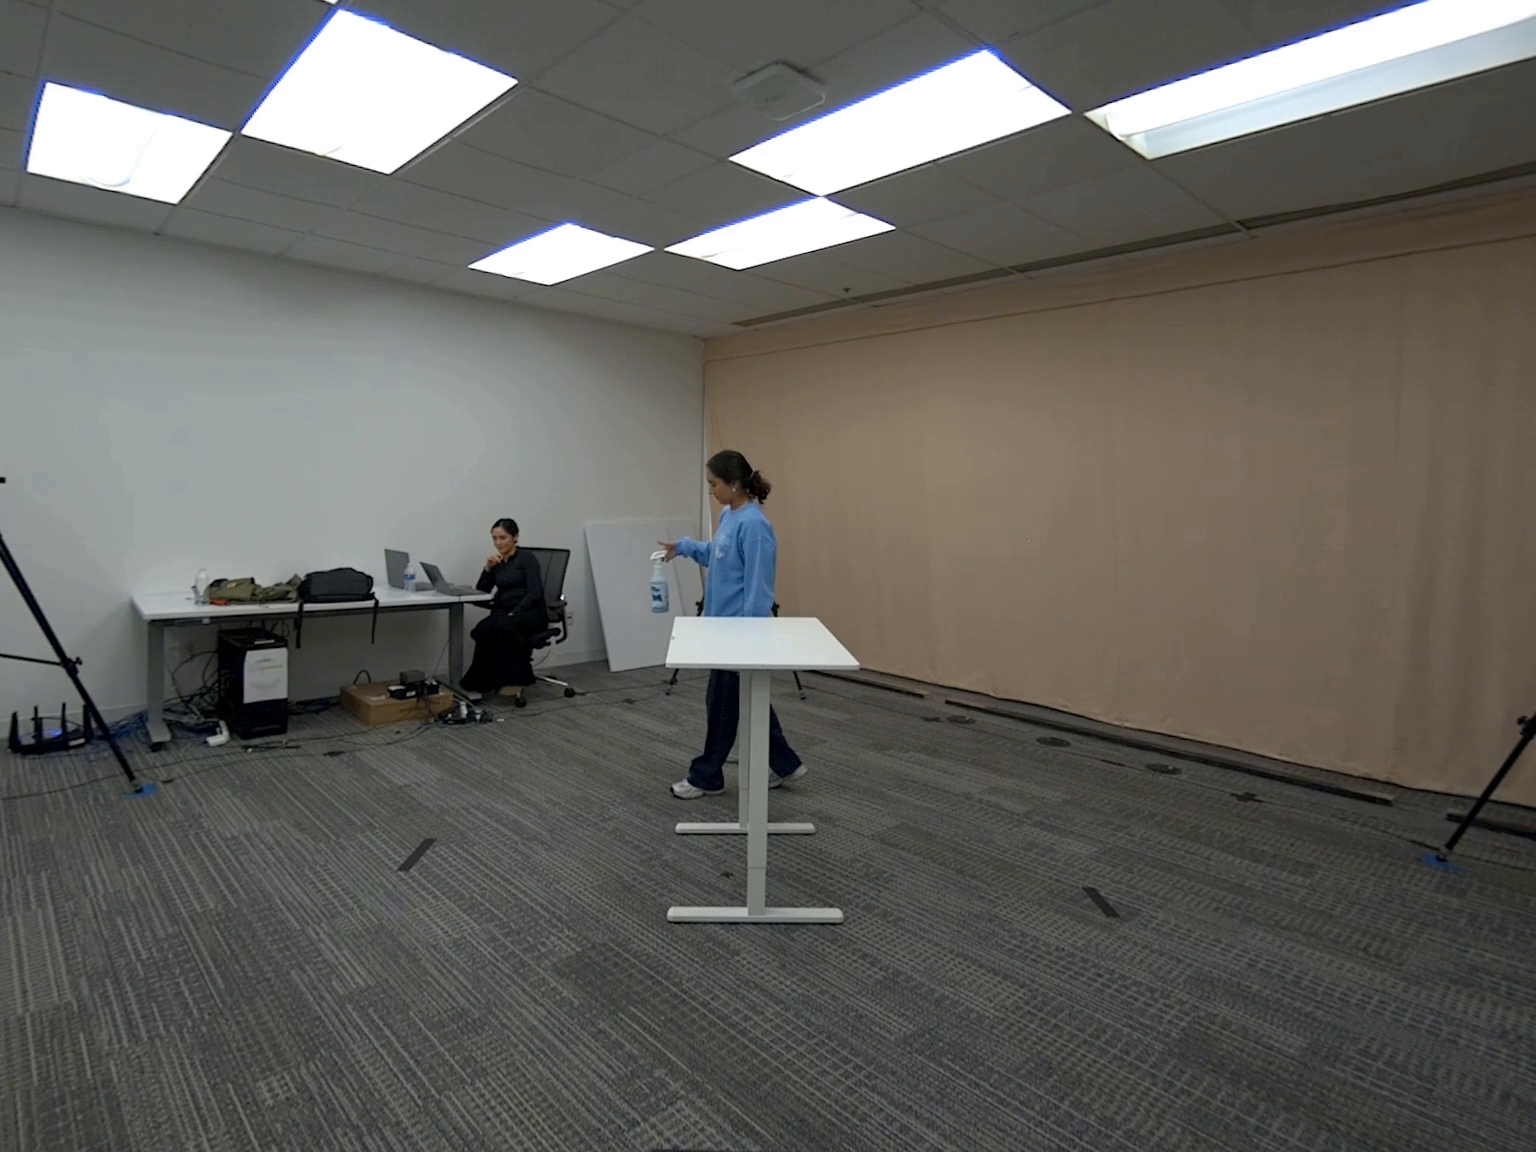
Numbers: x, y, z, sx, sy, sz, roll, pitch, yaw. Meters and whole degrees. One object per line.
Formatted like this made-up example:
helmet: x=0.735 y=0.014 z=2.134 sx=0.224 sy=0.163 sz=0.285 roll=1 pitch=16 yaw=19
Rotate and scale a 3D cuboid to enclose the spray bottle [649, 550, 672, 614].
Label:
spray bottle: x=-0.529 y=0.029 z=4.107 sx=0.089 sy=0.295 sz=0.088 roll=-2 pitch=10 yaw=-10
